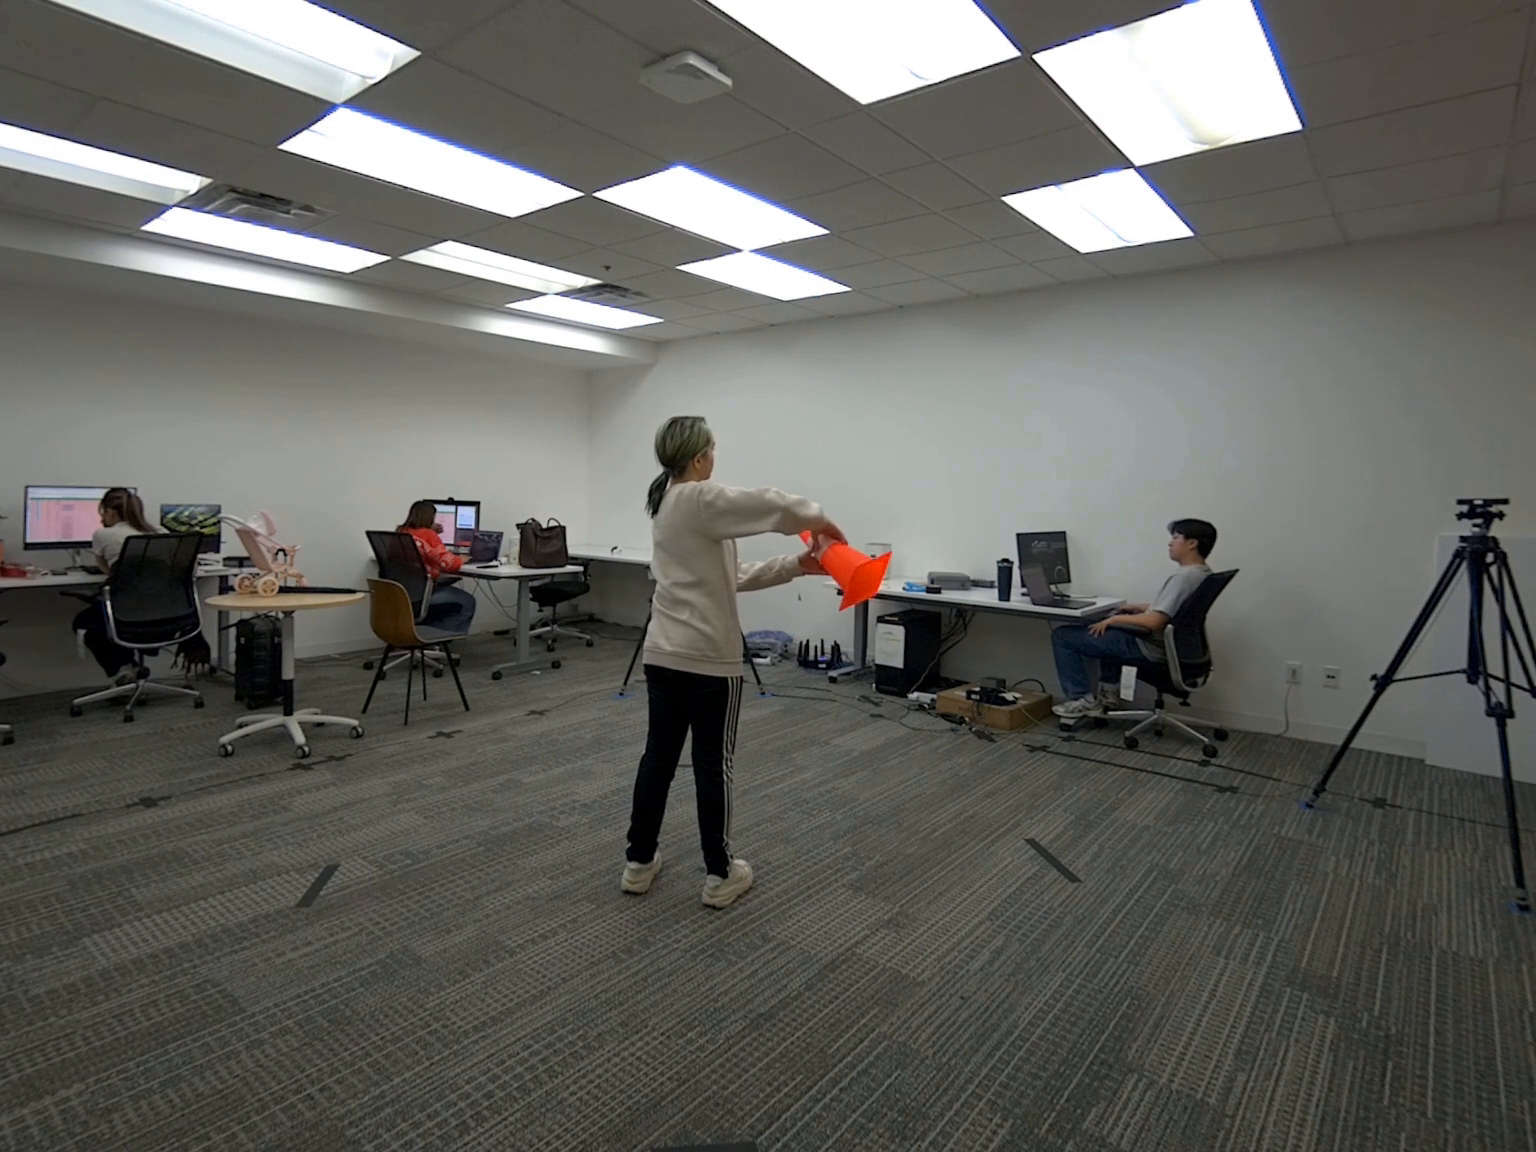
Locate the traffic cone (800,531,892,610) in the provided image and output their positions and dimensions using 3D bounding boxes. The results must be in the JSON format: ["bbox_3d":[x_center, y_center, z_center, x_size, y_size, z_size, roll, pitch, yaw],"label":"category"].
[{"bbox_3d":[0.191,-0.087,2.958,0.199,0.201,0.399,-18,47,-39],"label":"traffic cone"}]
